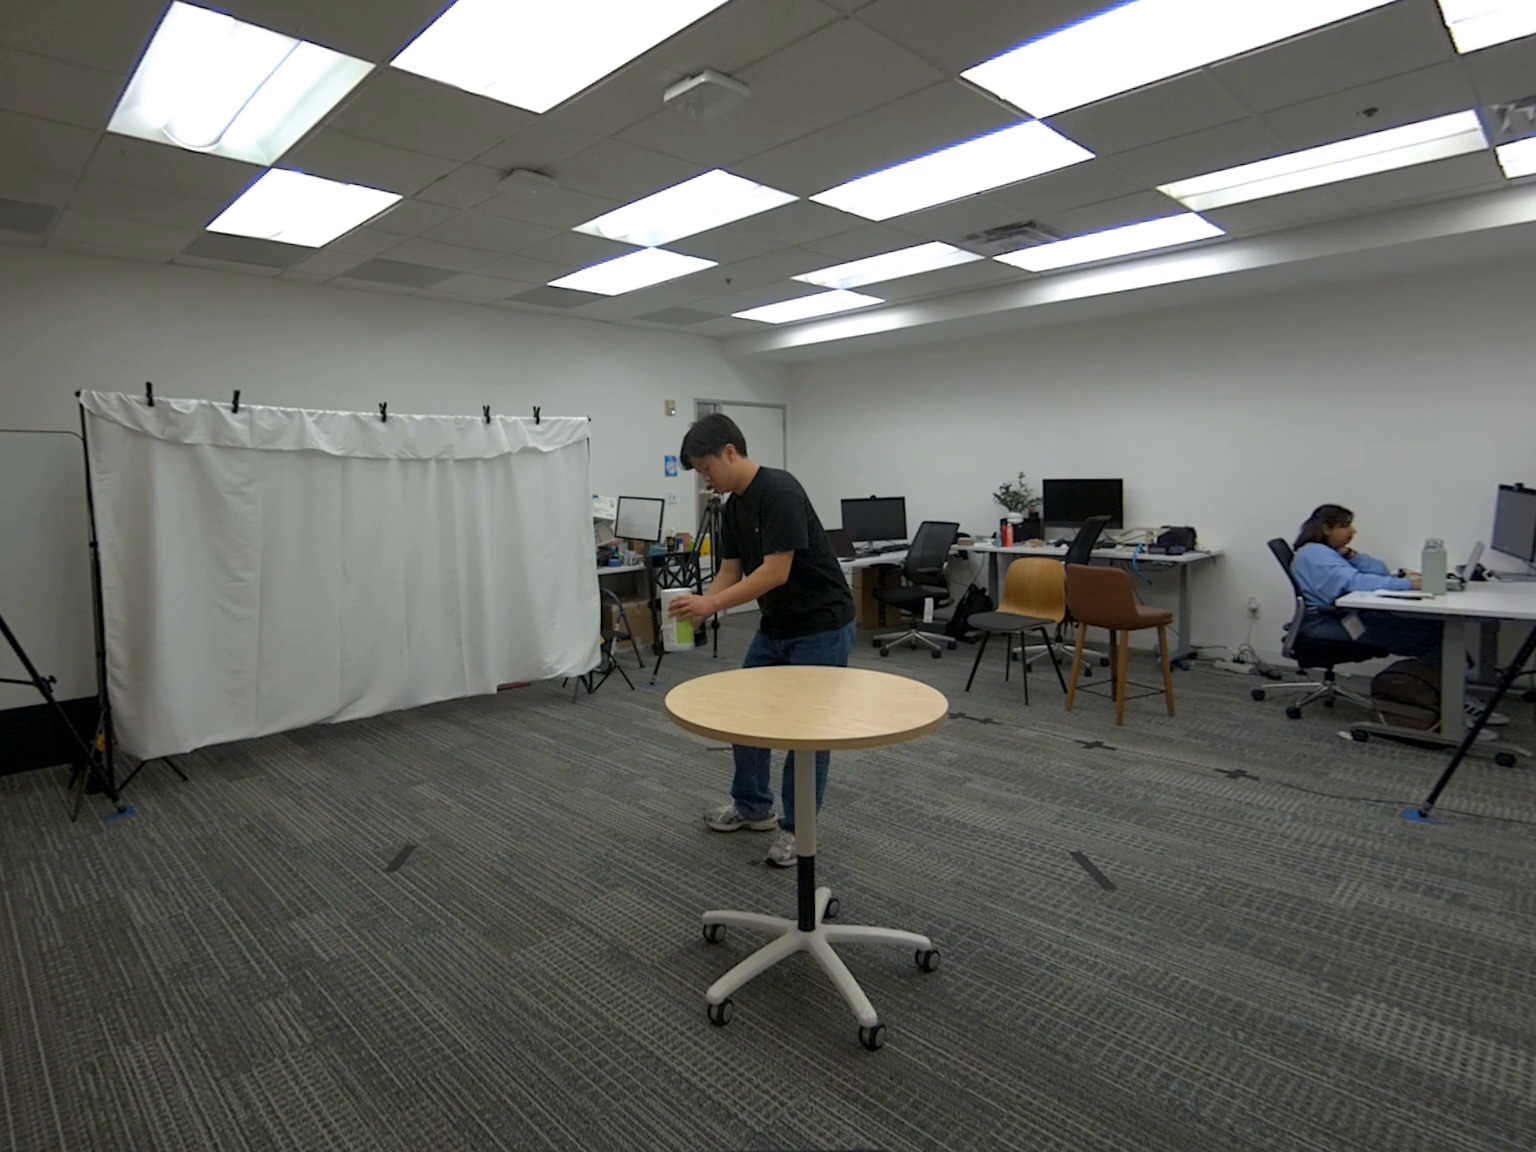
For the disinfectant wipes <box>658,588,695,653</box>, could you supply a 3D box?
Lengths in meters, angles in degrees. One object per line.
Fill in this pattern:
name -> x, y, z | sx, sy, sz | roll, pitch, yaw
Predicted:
disinfectant wipes -> -0.312, 0.155, 3.026 | 0.118, 0.218, 0.118 | -5, -1, -2
